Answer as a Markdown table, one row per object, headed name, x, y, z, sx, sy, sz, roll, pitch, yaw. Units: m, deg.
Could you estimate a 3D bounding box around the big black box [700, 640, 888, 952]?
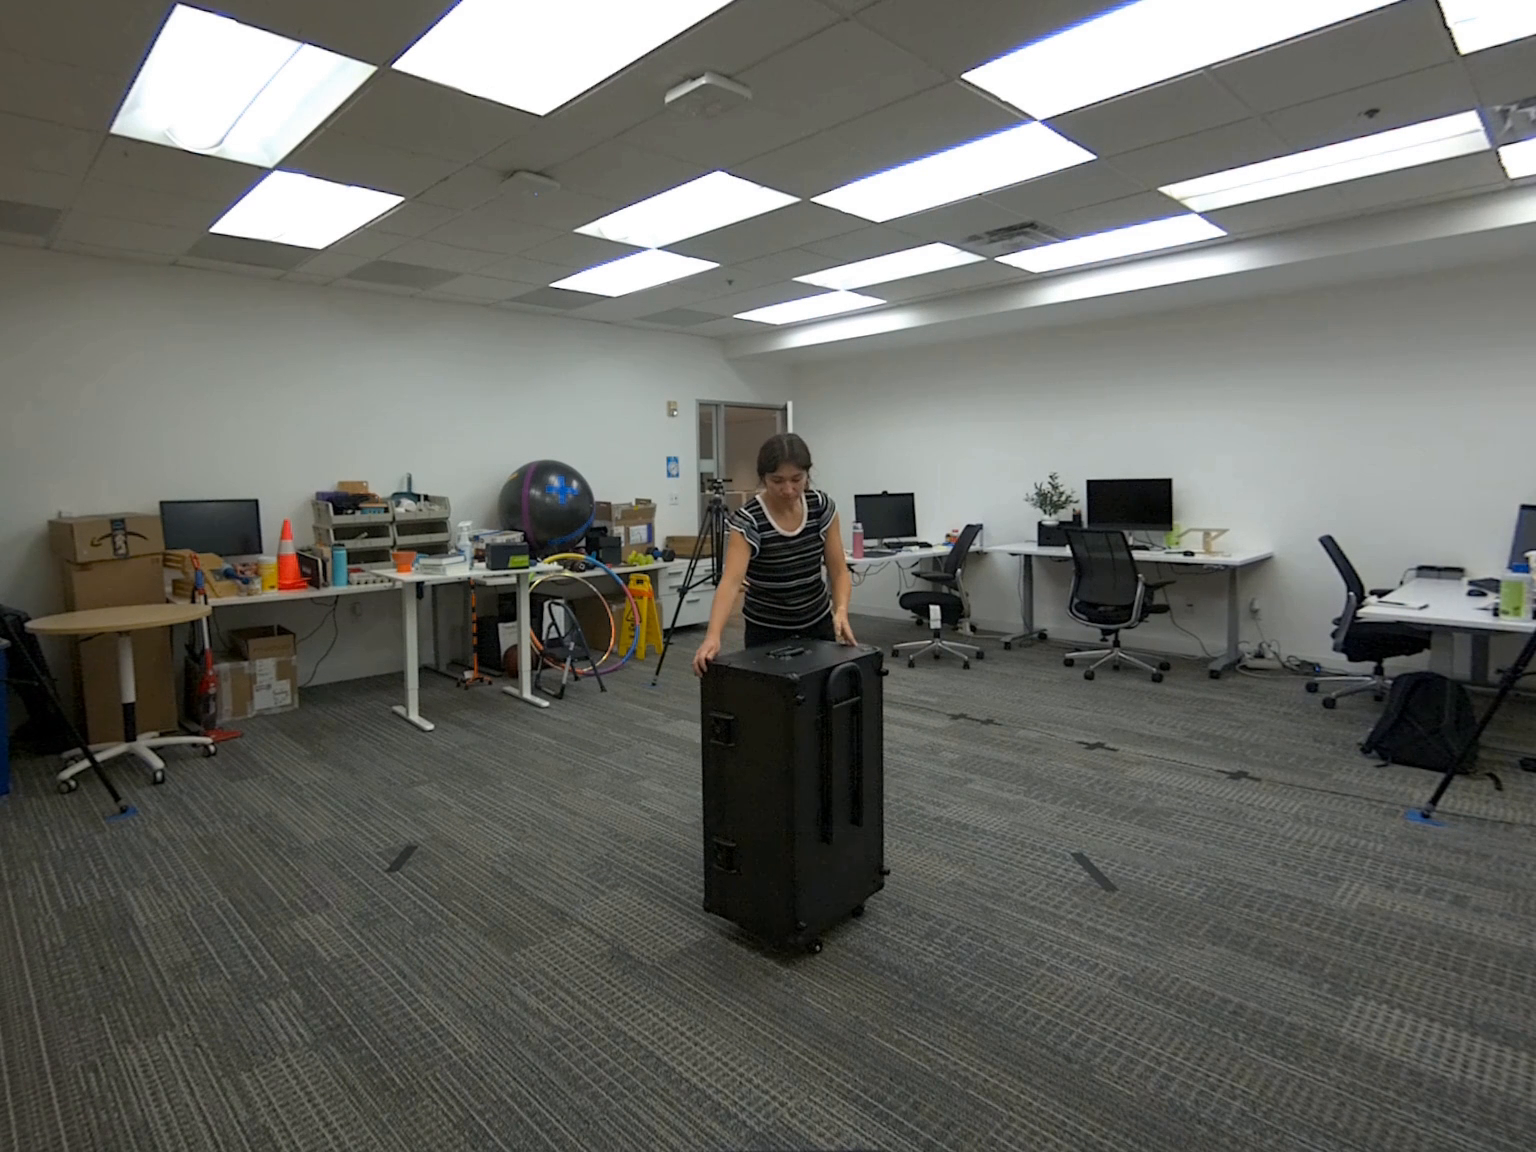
| name | x | y | z | sx | sy | sz | roll | pitch | yaw |
| --- | --- | --- | --- | --- | --- | --- | --- | --- | --- |
| big black box | 0.096 | 0.673 | 2.671 | 0.408 | 0.858 | 0.508 | 4 | 6 | 39 |
